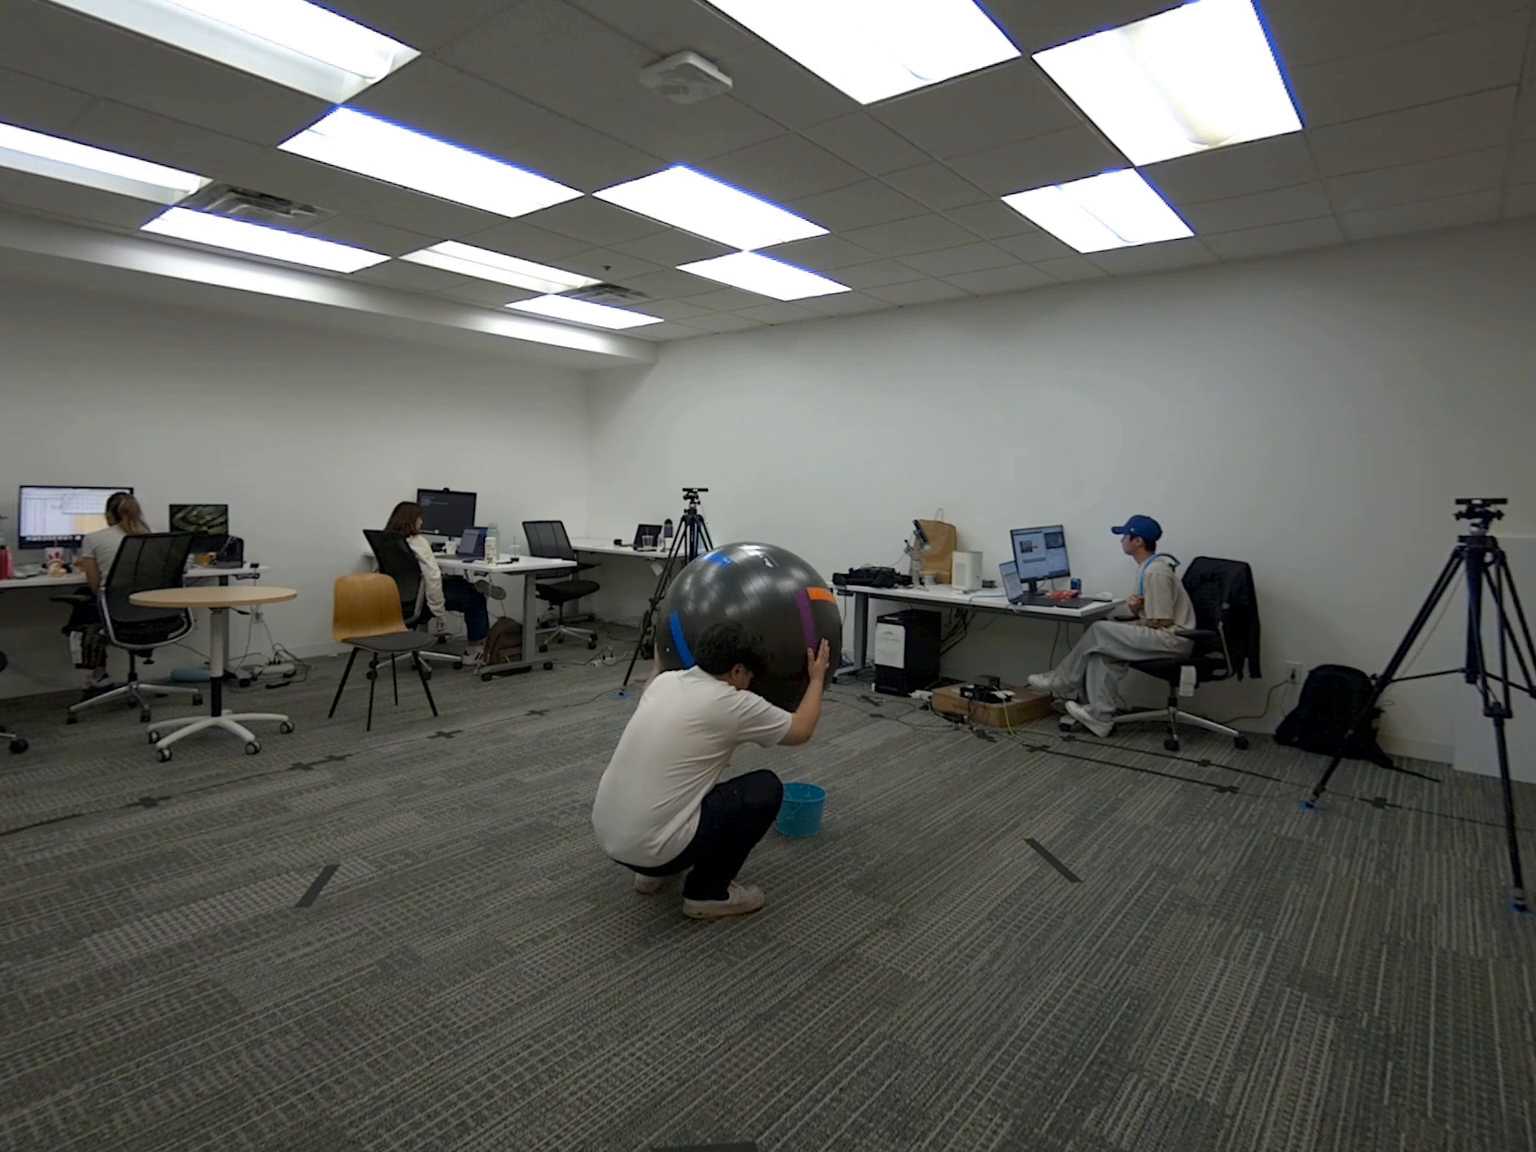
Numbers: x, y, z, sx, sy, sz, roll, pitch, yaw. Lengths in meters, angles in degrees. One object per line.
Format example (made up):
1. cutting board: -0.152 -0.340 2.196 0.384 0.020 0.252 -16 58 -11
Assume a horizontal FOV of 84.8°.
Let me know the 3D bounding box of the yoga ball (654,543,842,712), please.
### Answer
1. yoga ball: -0.080 0.247 3.476 0.757 0.755 0.762 1 4 -2
